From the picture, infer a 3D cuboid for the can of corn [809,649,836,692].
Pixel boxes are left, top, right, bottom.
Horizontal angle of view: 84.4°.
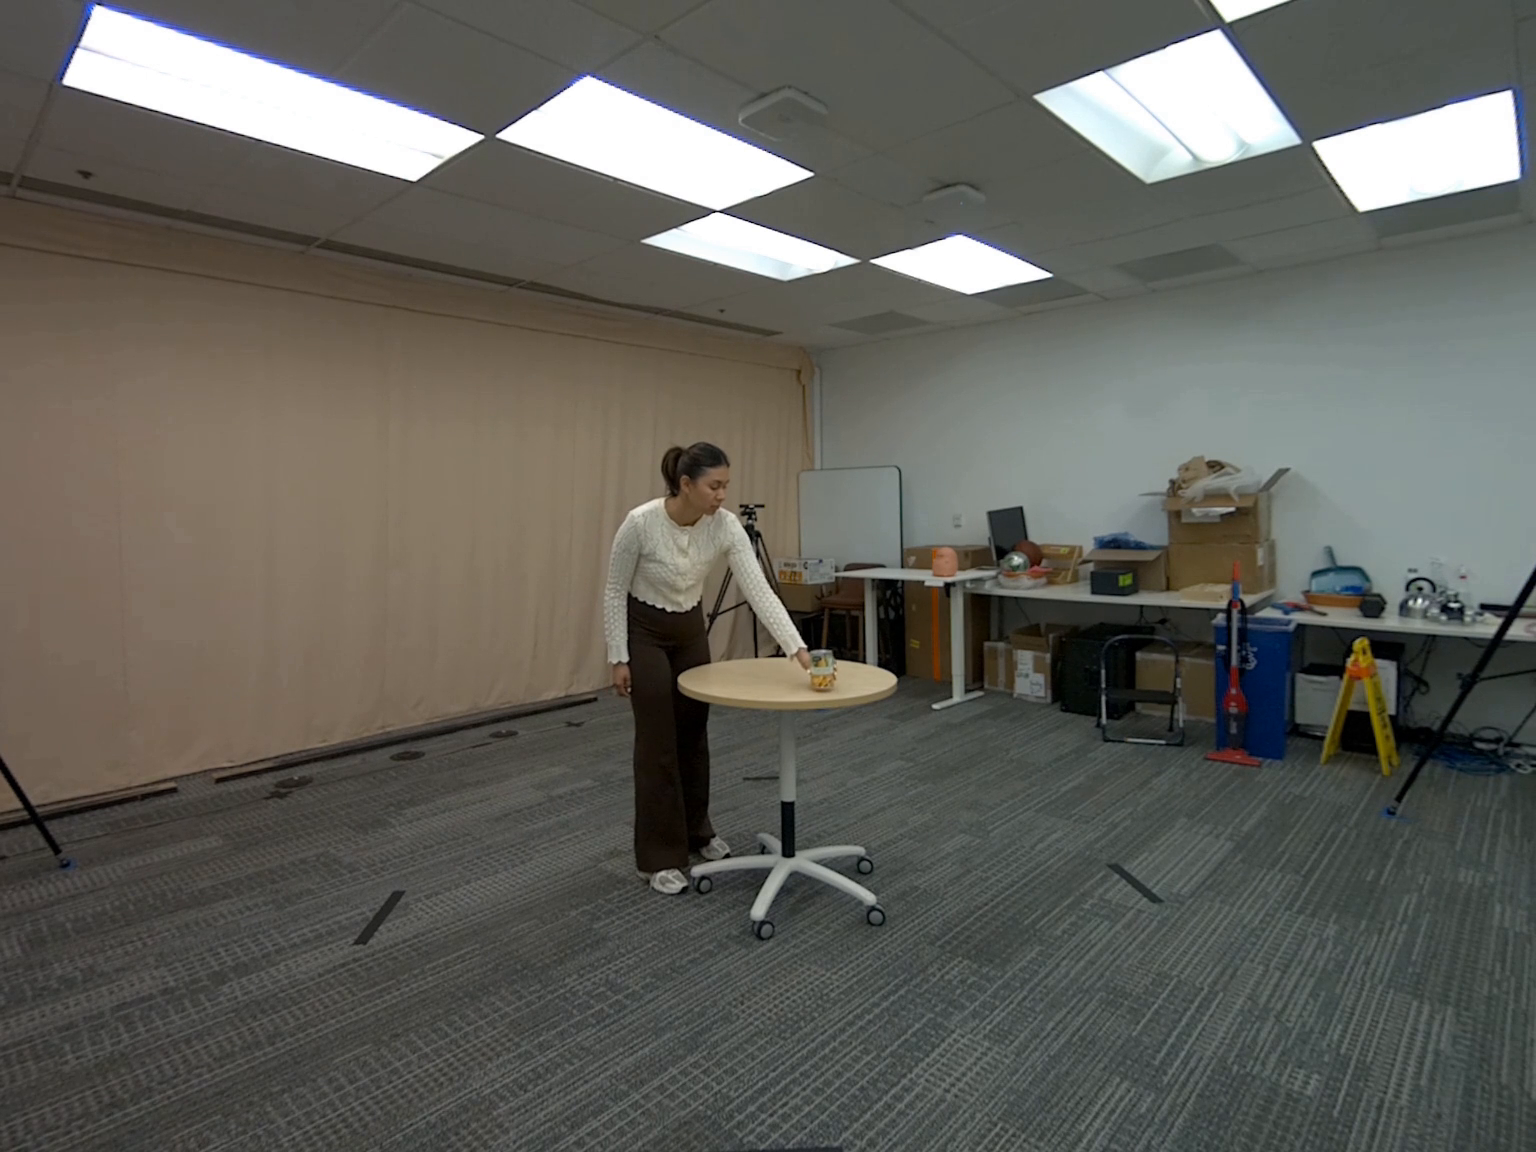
[{"bbox_3d":[0.172,0.299,2.733,0.074,0.111,0.074,-2,3,-2],"label":"can of corn"}]
